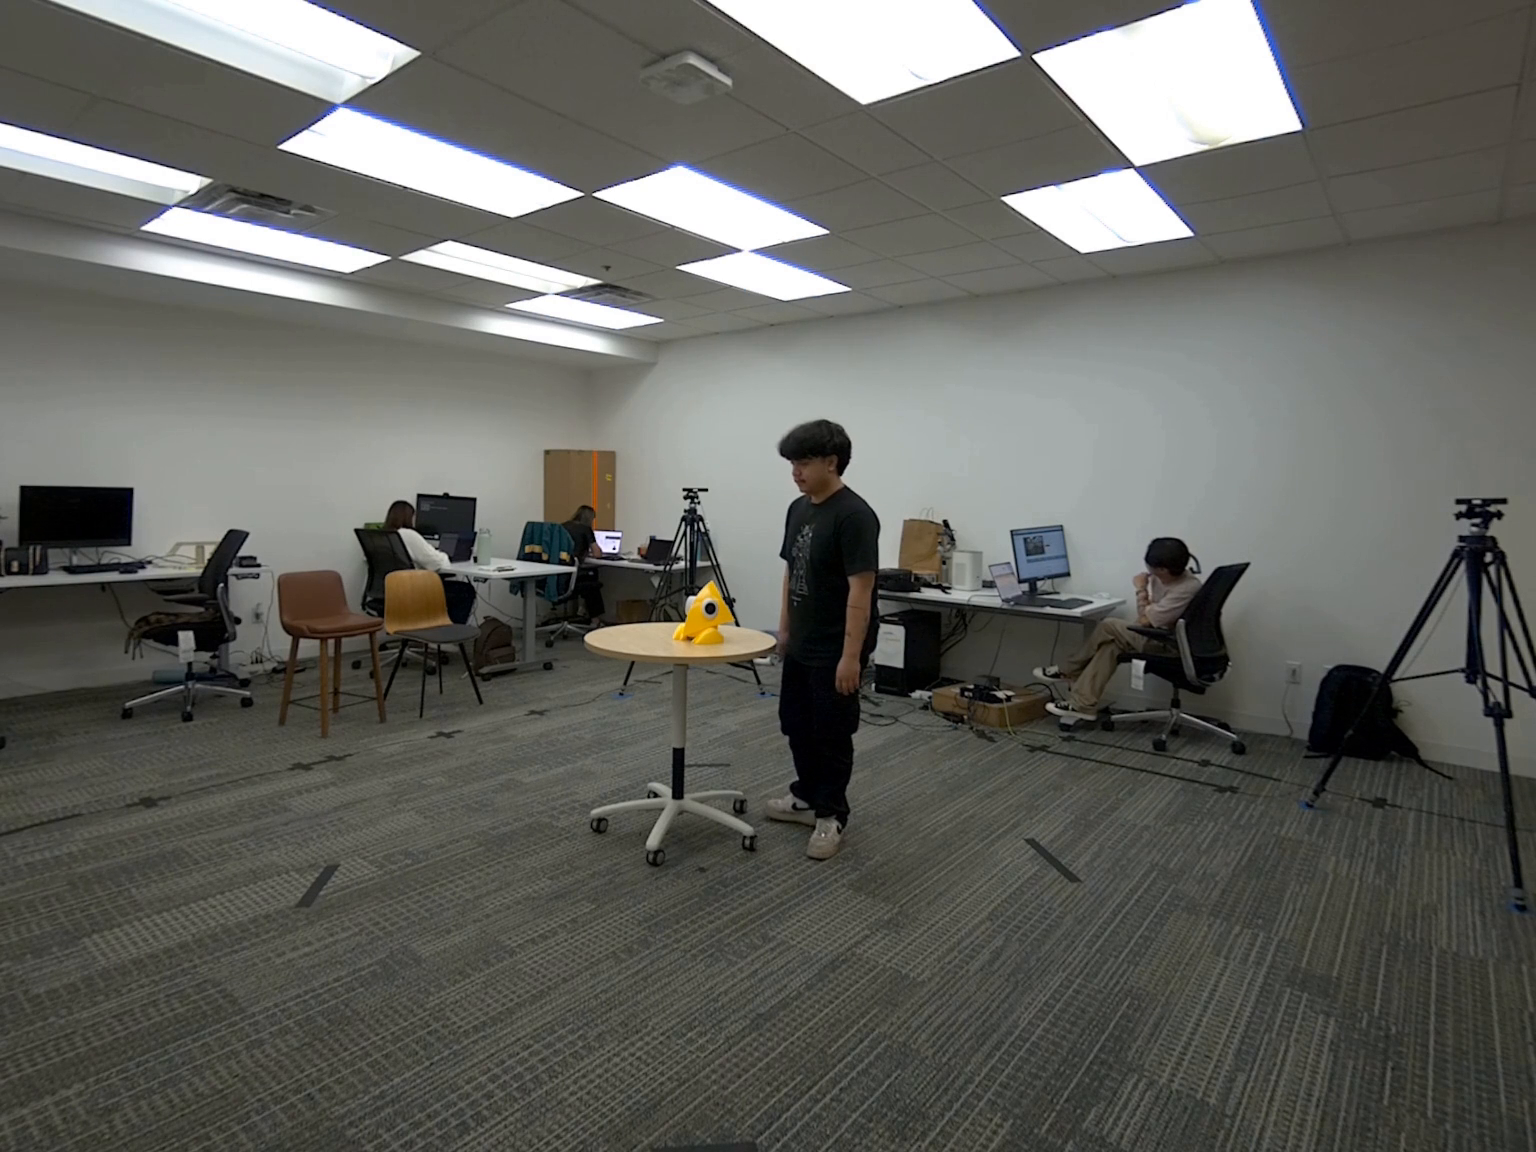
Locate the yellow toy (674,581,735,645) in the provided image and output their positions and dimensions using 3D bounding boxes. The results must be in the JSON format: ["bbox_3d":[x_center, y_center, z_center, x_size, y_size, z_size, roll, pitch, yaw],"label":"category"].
[{"bbox_3d":[-0.278,0.134,3.390,0.212,0.230,0.187,5,6,41],"label":"yellow toy"}]
